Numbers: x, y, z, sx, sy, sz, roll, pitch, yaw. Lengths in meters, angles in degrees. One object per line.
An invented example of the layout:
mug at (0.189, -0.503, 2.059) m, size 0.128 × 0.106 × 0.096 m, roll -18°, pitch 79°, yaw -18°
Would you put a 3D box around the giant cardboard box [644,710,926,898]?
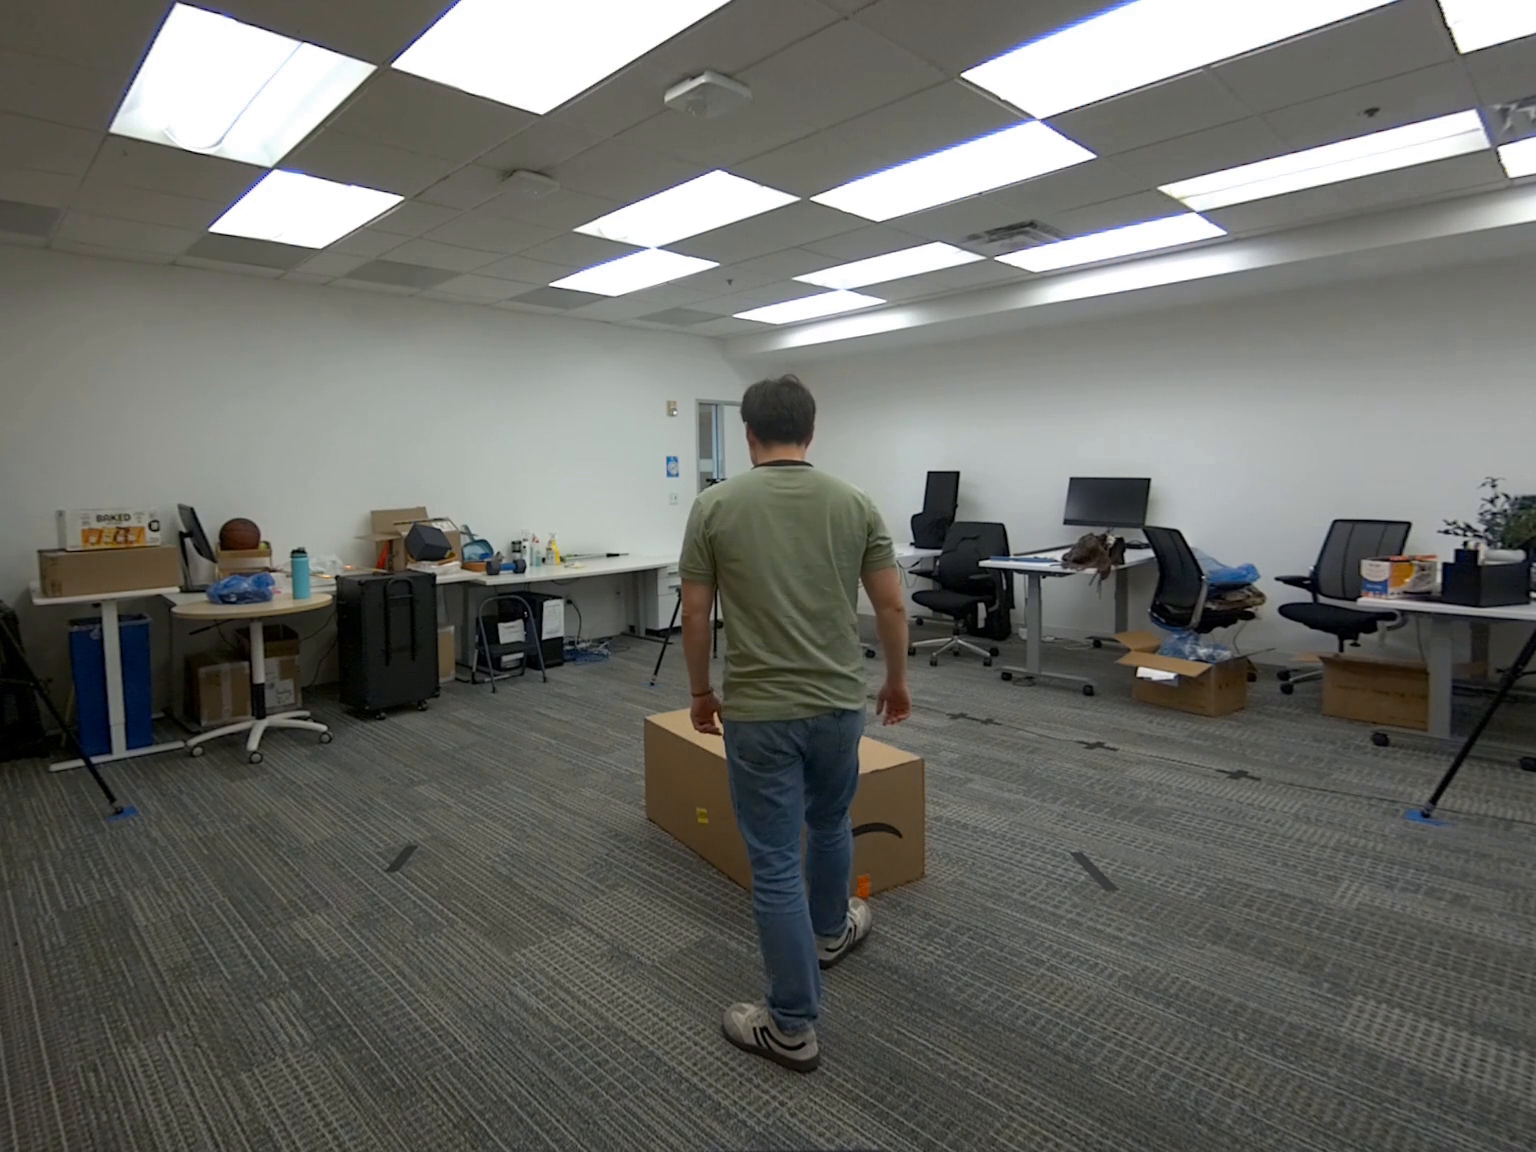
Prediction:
giant cardboard box at (0.019, 0.817, 3.244) m, size 0.563 × 0.424 × 1.056 m, roll -4°, pitch 7°, yaw -33°
